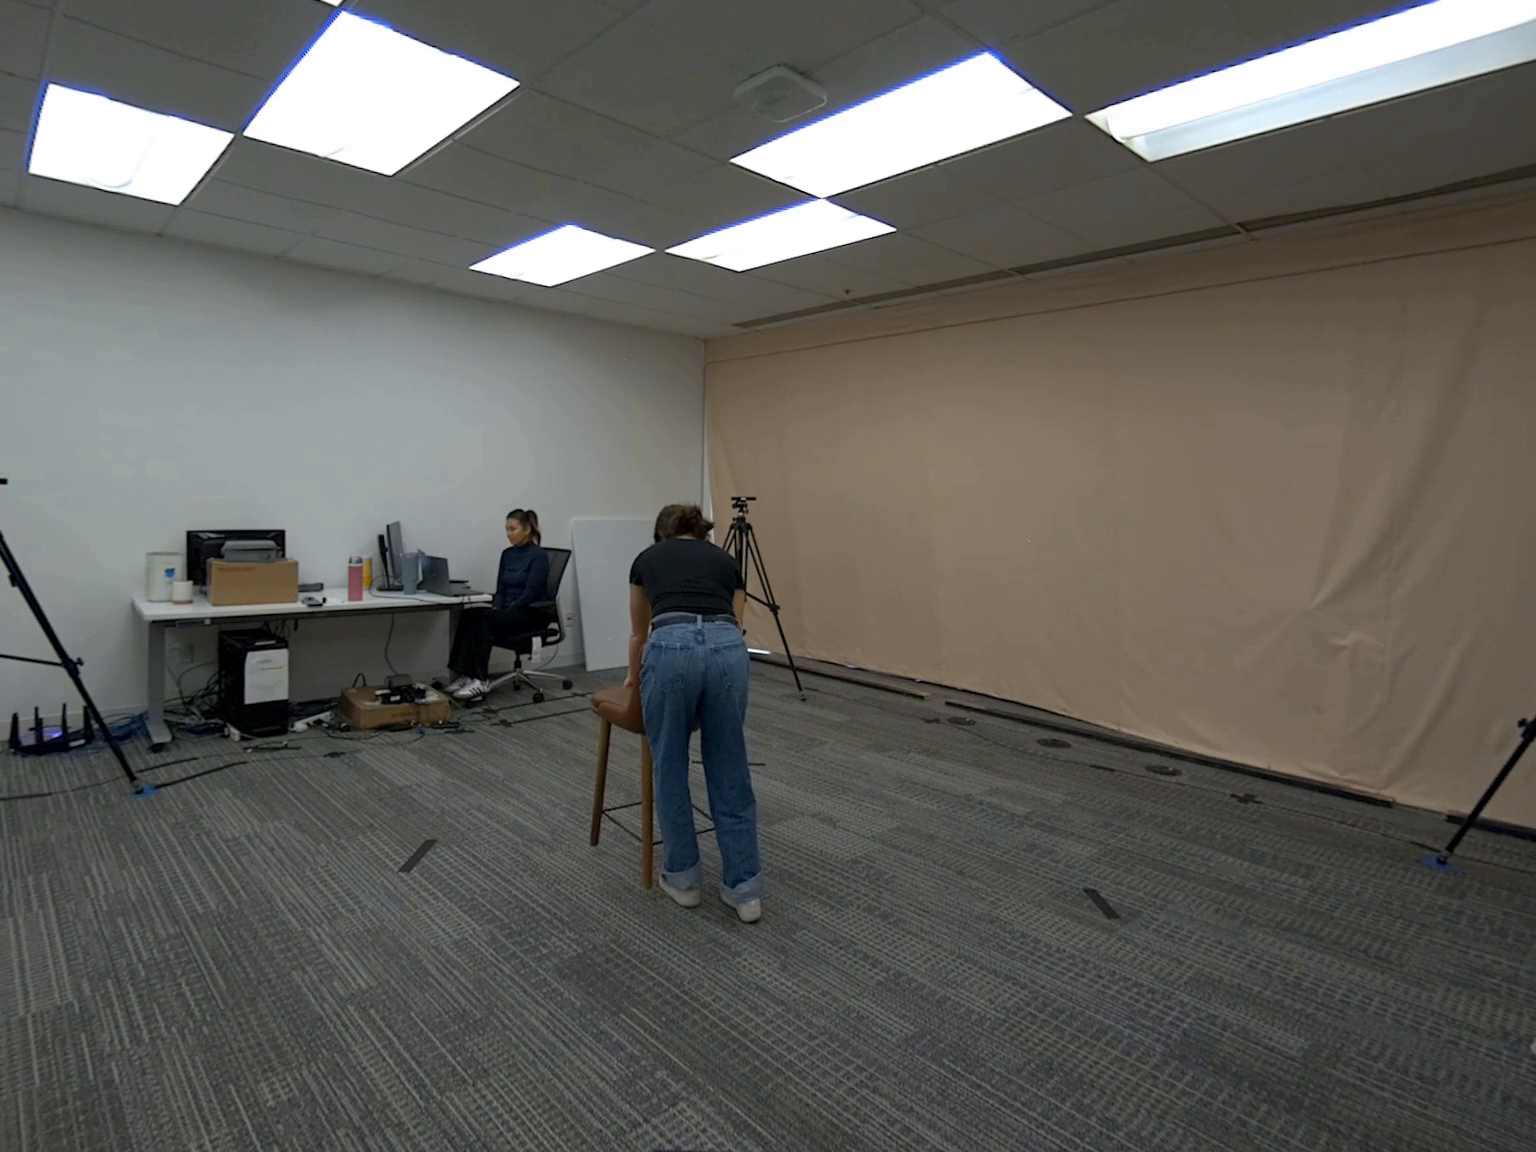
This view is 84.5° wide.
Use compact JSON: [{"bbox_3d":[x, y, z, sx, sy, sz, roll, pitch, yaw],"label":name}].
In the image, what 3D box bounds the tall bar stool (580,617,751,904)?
[{"bbox_3d":[-0.395,0.629,3.158,0.447,0.886,0.479,-3,7,-34],"label":"tall bar stool"}]
